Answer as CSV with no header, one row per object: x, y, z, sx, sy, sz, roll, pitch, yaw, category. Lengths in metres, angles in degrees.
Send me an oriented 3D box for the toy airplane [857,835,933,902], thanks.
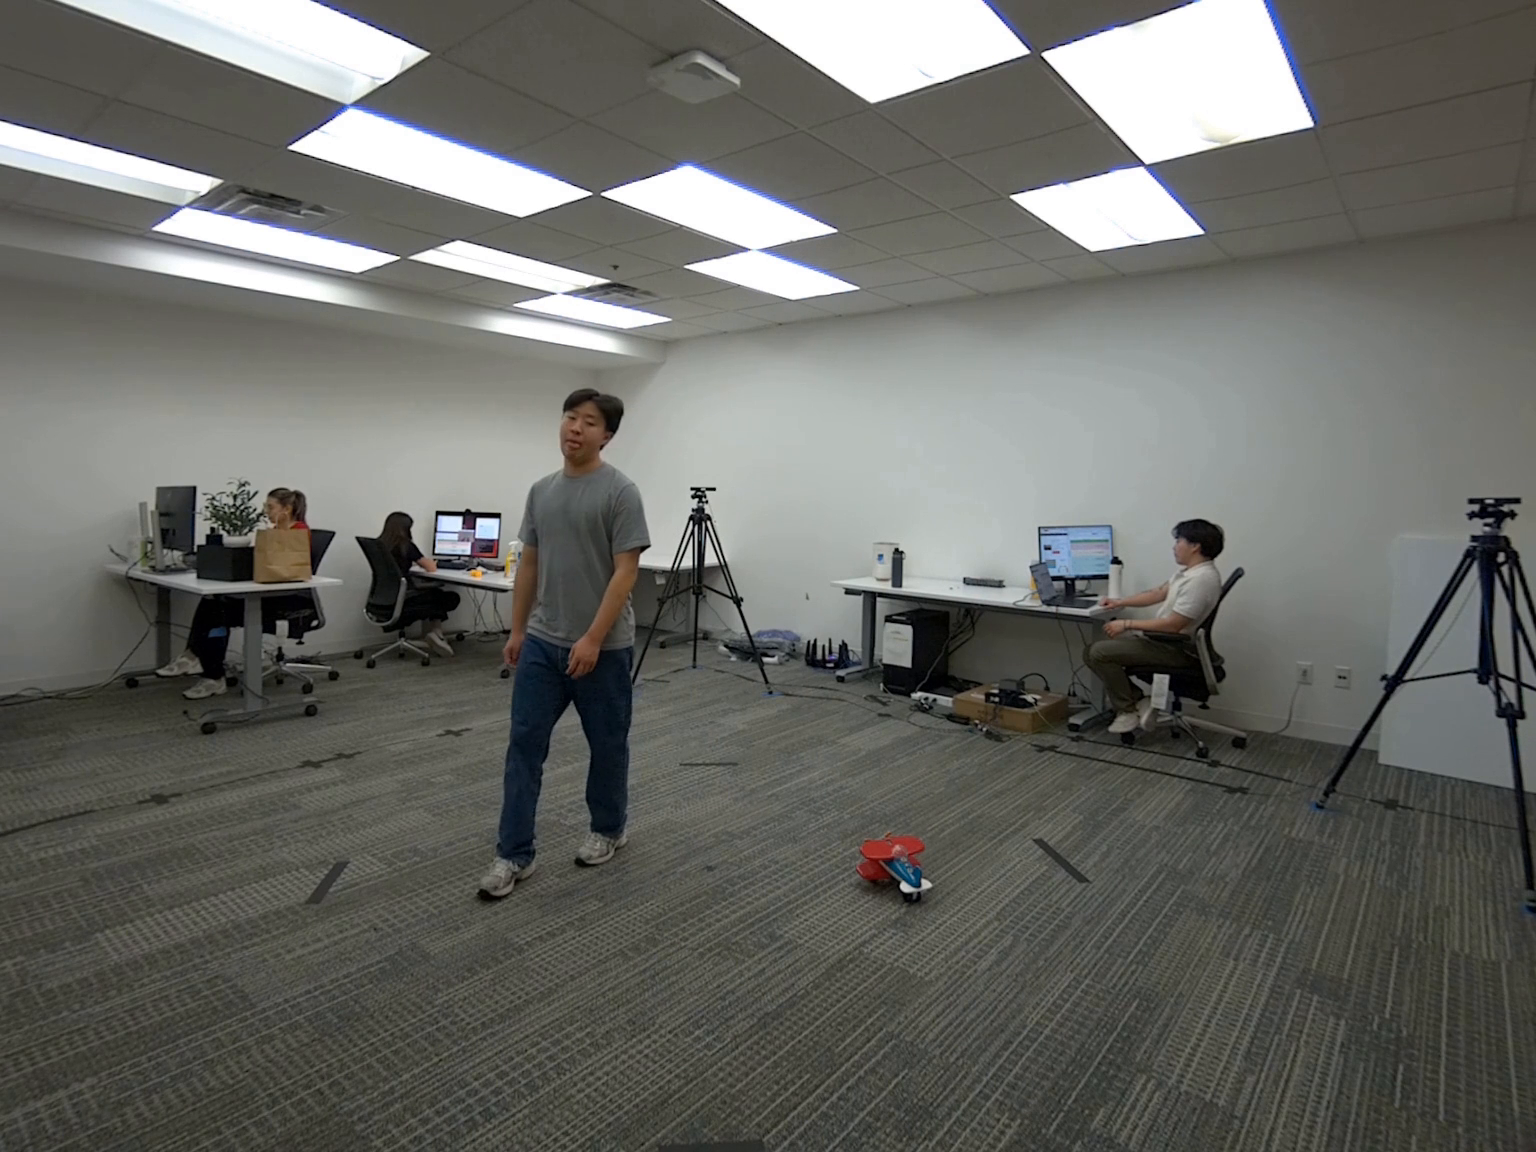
0.461,1.023,2.984,0.268,0.156,0.244,4,6,36,toy airplane
